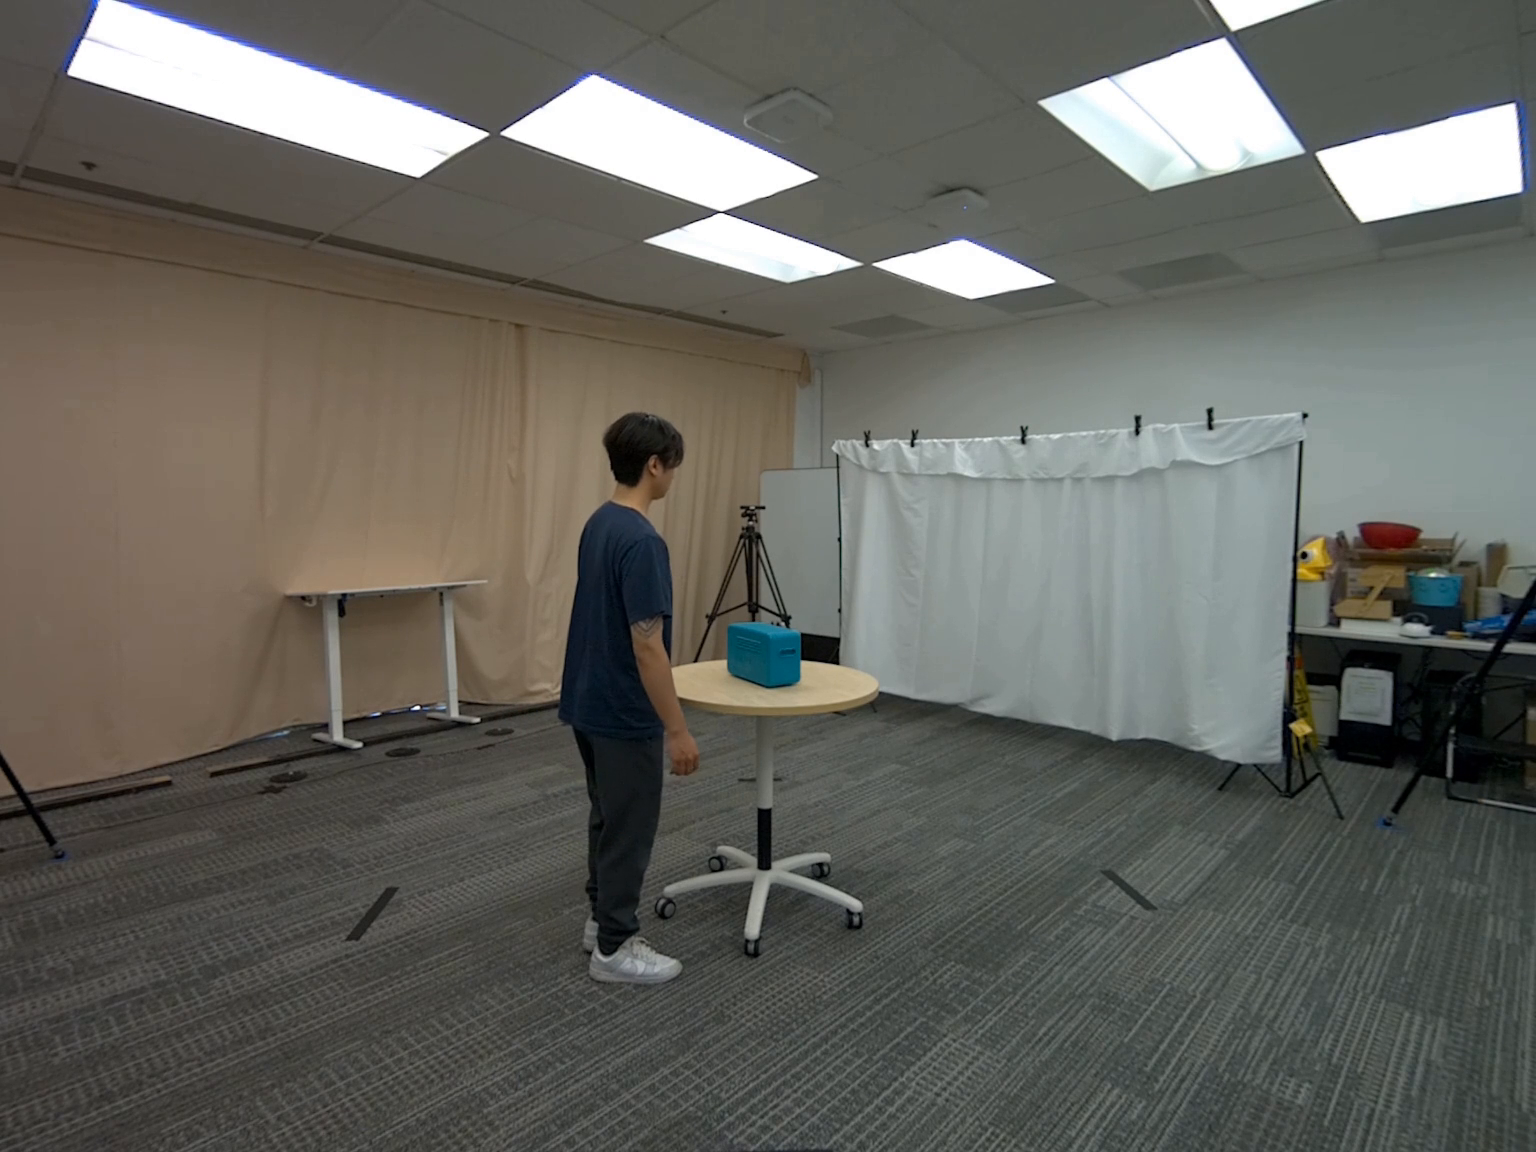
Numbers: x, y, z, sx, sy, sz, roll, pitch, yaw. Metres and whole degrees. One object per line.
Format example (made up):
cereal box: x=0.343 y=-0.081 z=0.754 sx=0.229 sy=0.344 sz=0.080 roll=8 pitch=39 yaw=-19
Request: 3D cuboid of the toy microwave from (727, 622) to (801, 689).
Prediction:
toy microwave: x=-0.005 y=0.263 z=2.872 sx=0.148 sy=0.184 sz=0.295 roll=-1 pitch=4 yaw=-30
